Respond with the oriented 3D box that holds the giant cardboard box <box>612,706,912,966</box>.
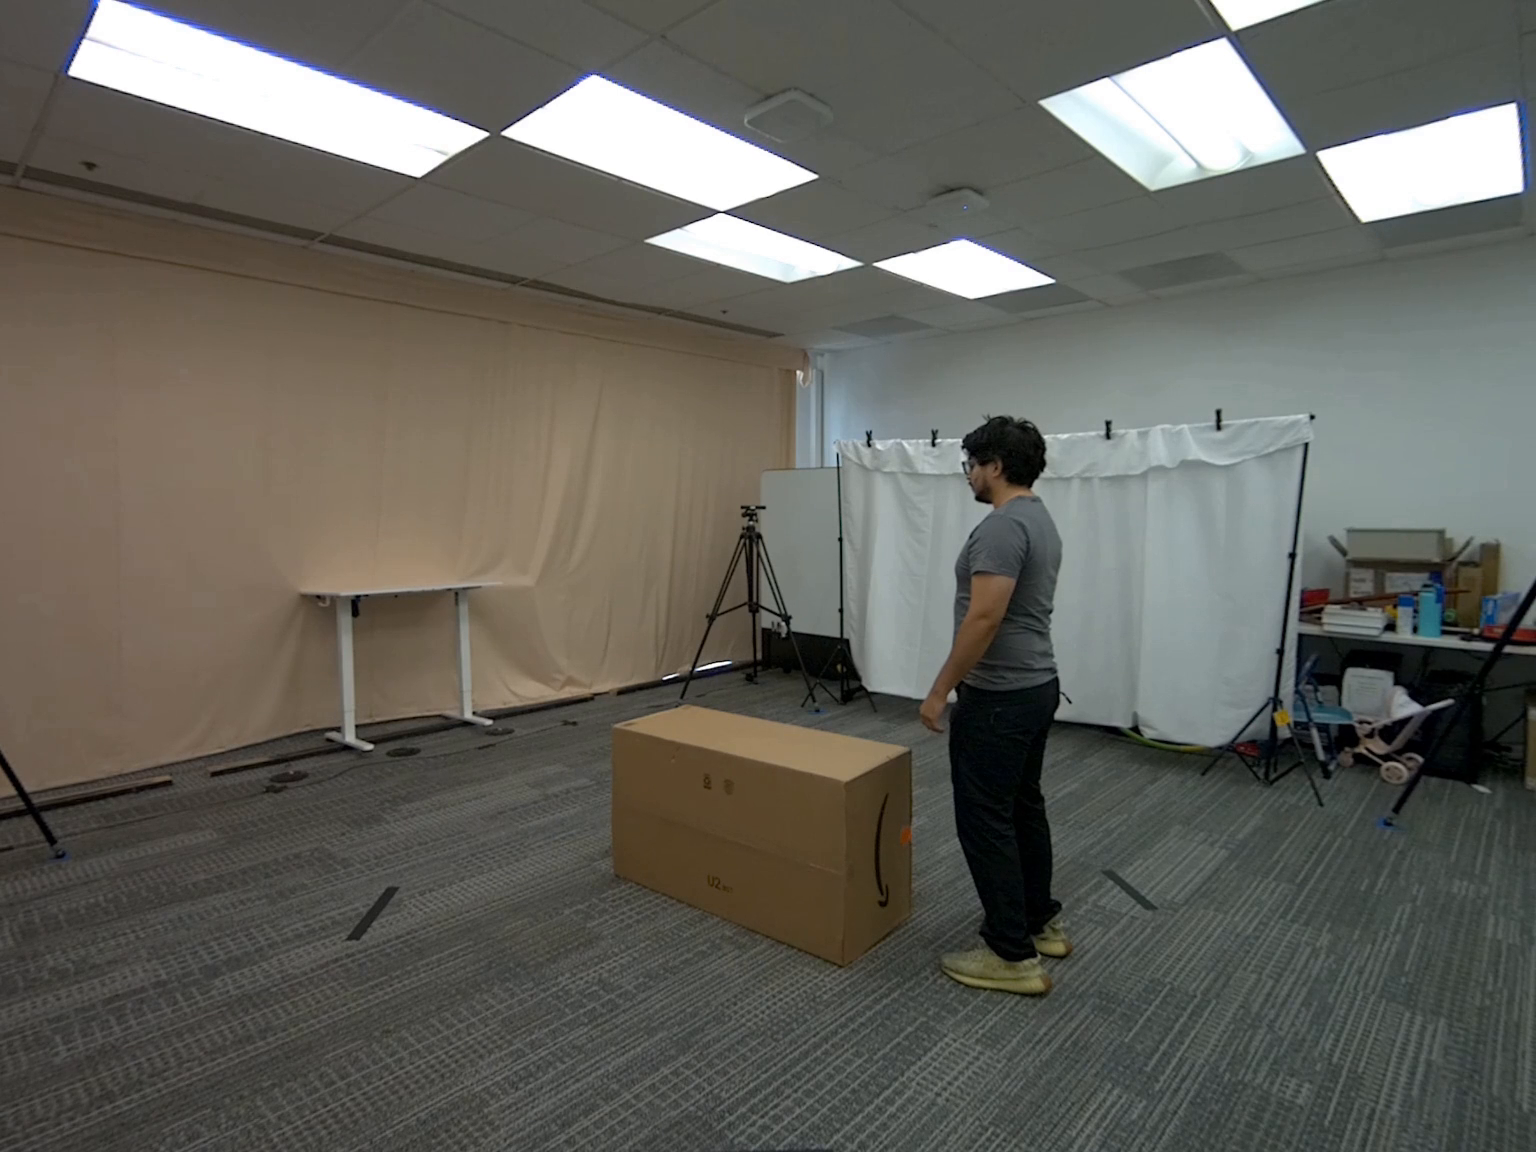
[{"bbox_3d":[-0.047,0.851,3.006,1.059,0.576,0.413,3,4,39],"label":"giant cardboard box"}]
